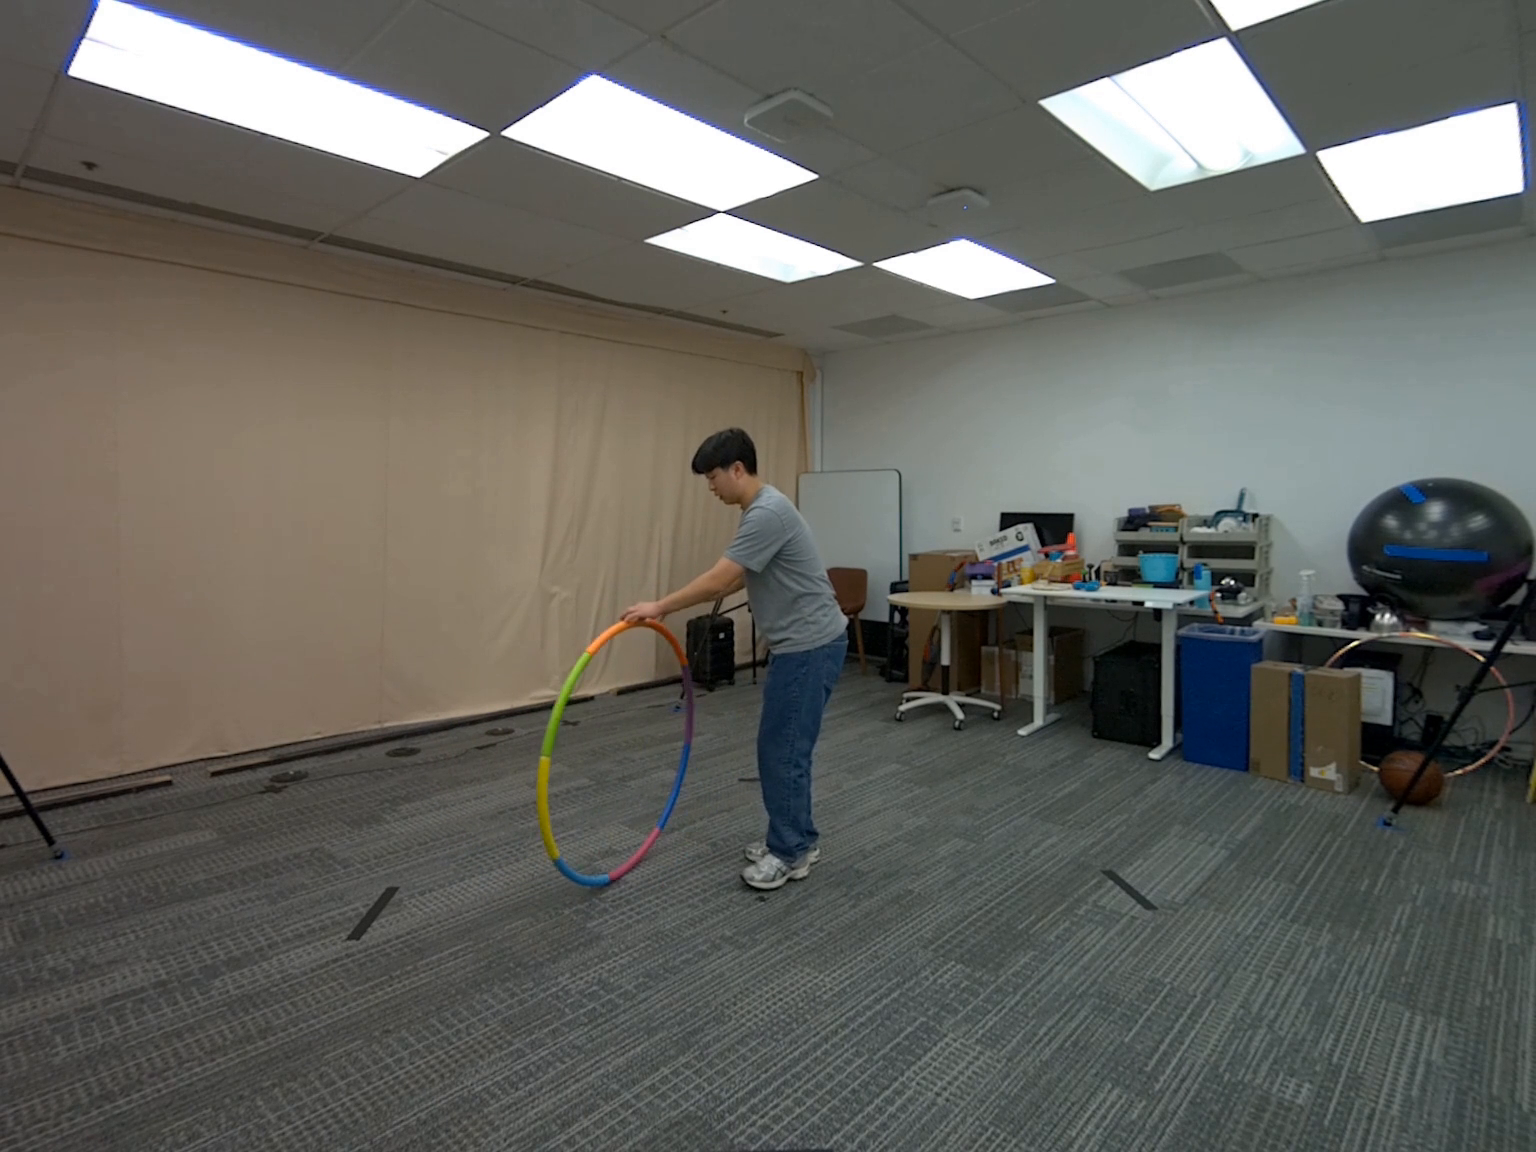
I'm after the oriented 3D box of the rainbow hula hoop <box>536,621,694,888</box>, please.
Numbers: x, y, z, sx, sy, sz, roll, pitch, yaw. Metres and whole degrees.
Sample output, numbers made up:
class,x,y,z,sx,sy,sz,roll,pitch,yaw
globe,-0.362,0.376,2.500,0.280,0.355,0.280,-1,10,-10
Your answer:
class,x,y,z,sx,sy,sz,roll,pitch,yaw
rainbow hula hoop,-0.528,0.652,3.147,0.036,0.976,0.955,6,6,24
